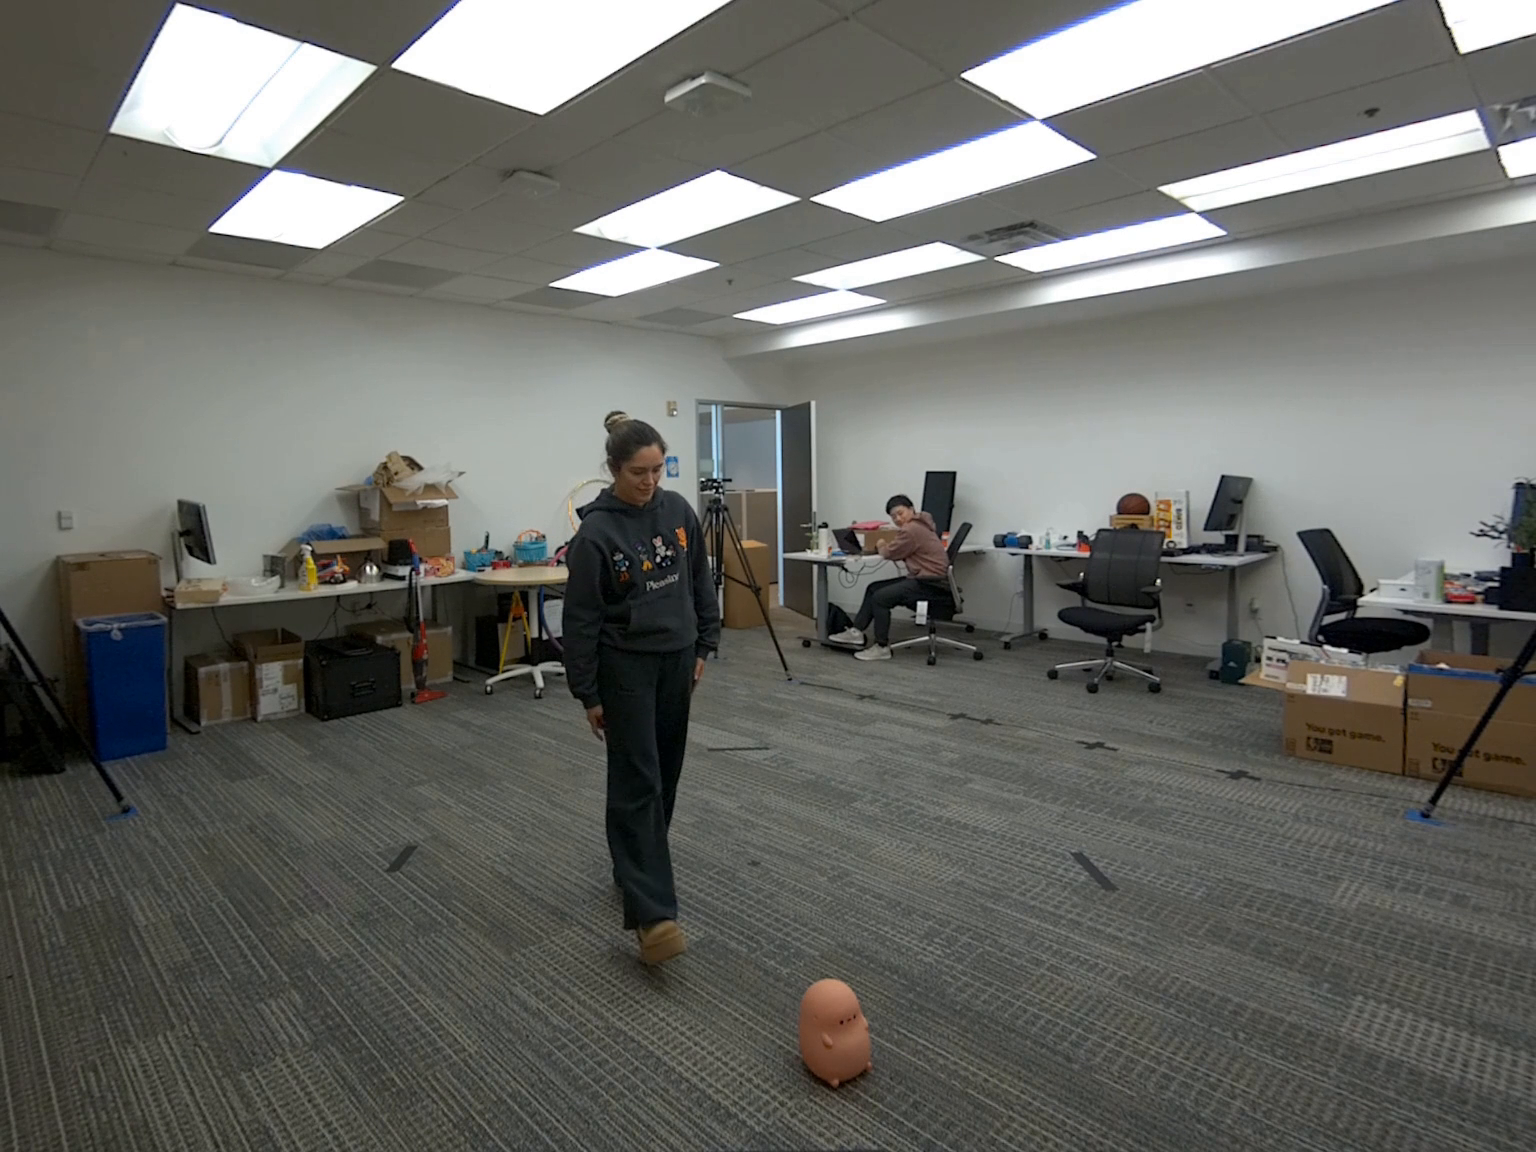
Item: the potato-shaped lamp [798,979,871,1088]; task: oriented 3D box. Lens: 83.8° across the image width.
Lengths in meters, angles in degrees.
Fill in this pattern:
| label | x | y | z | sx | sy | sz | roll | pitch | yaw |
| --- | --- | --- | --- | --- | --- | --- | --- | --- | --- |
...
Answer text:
| label | x | y | z | sx | sy | sz | roll | pitch | yaw |
| --- | --- | --- | --- | --- | --- | --- | --- | --- | --- |
| potato-shaped lamp | 0.161 | 1.065 | 2.019 | 0.161 | 0.198 | 0.176 | -6 | 1 | -36 |
